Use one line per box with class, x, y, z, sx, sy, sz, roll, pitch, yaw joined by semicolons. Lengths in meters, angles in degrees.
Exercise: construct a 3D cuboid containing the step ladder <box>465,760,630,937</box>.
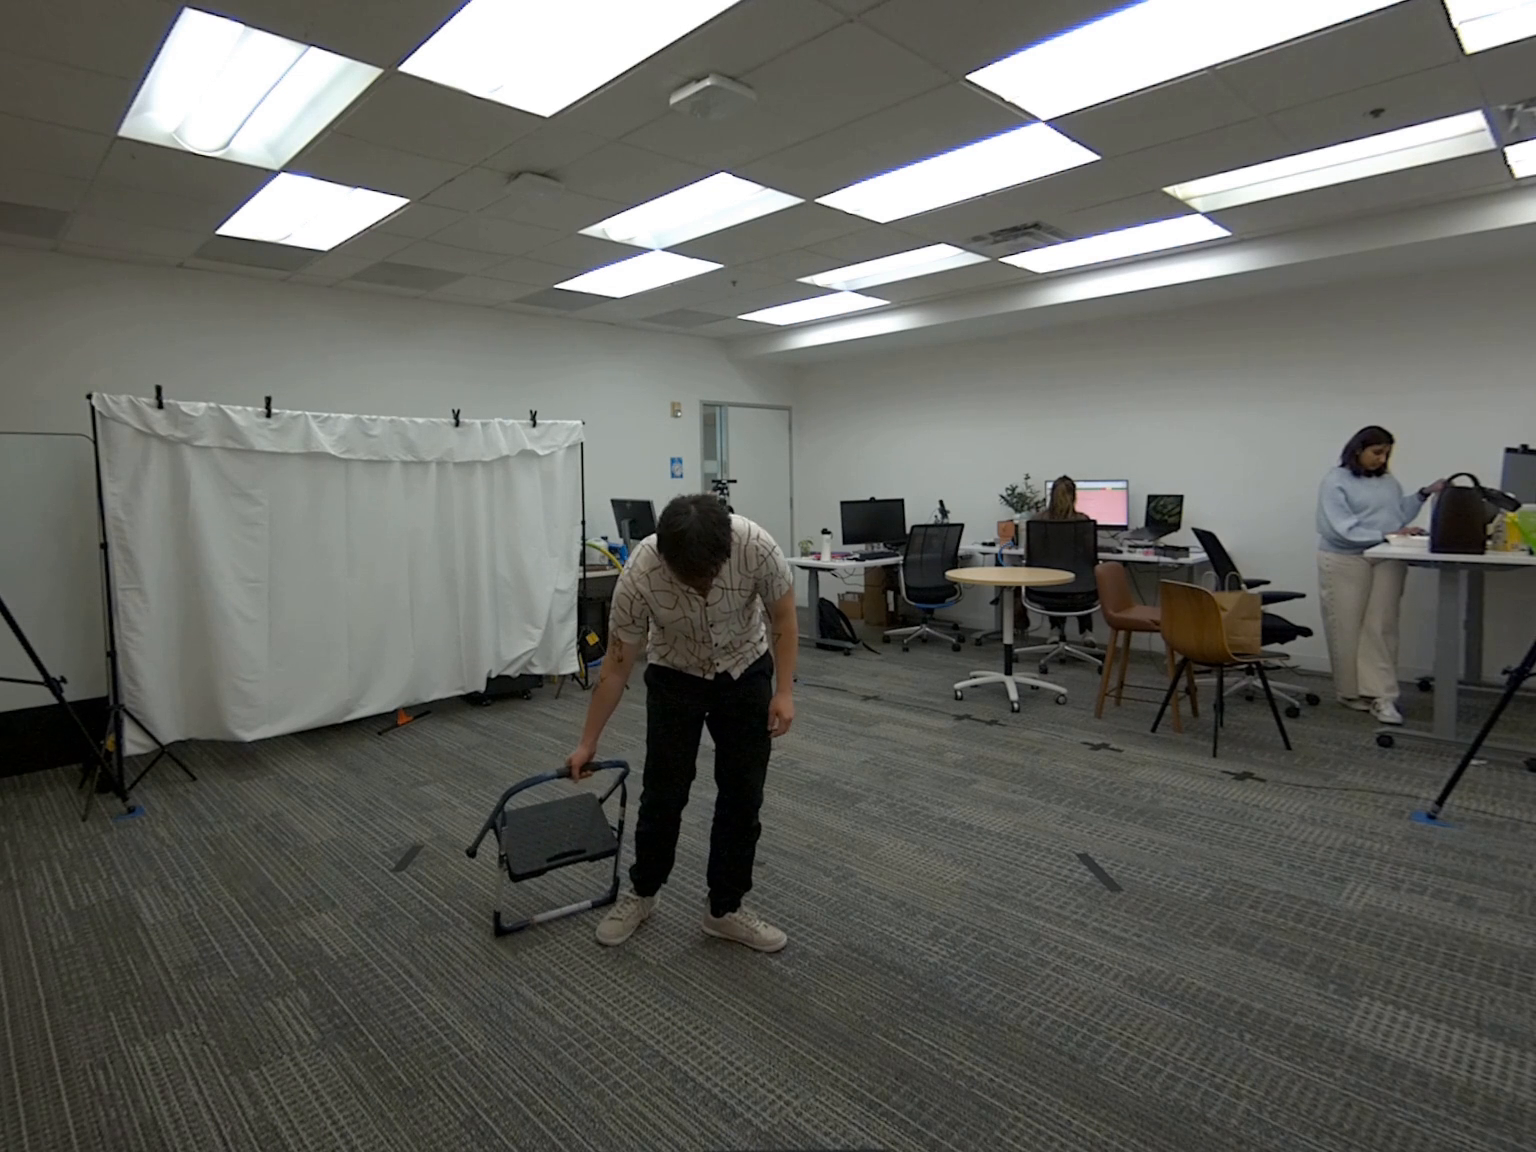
step ladder;-0.674;0.769;2.712;0.420;0.597;0.363;-6;38;-33
